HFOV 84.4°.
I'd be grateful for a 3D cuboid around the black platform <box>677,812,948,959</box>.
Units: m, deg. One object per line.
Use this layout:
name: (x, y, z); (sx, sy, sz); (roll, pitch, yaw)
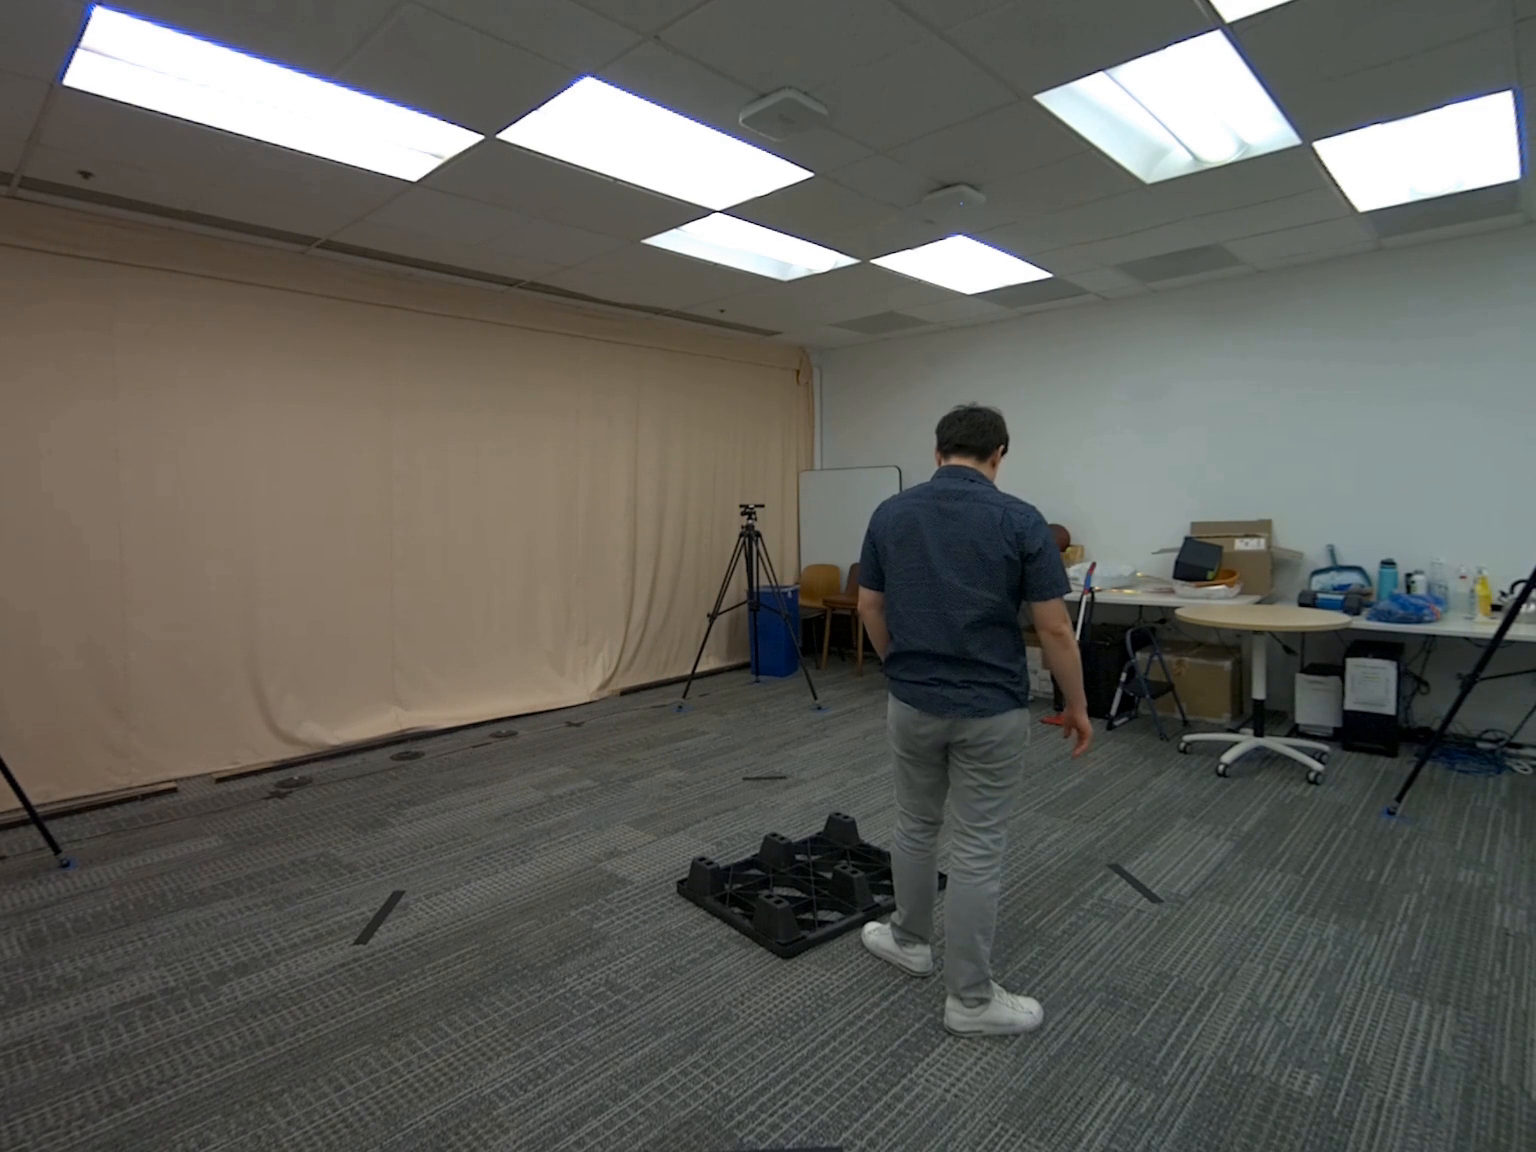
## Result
black platform: (0.162, 1.066, 3.031); (0.782, 0.143, 0.625); (-6, 6, -39)
